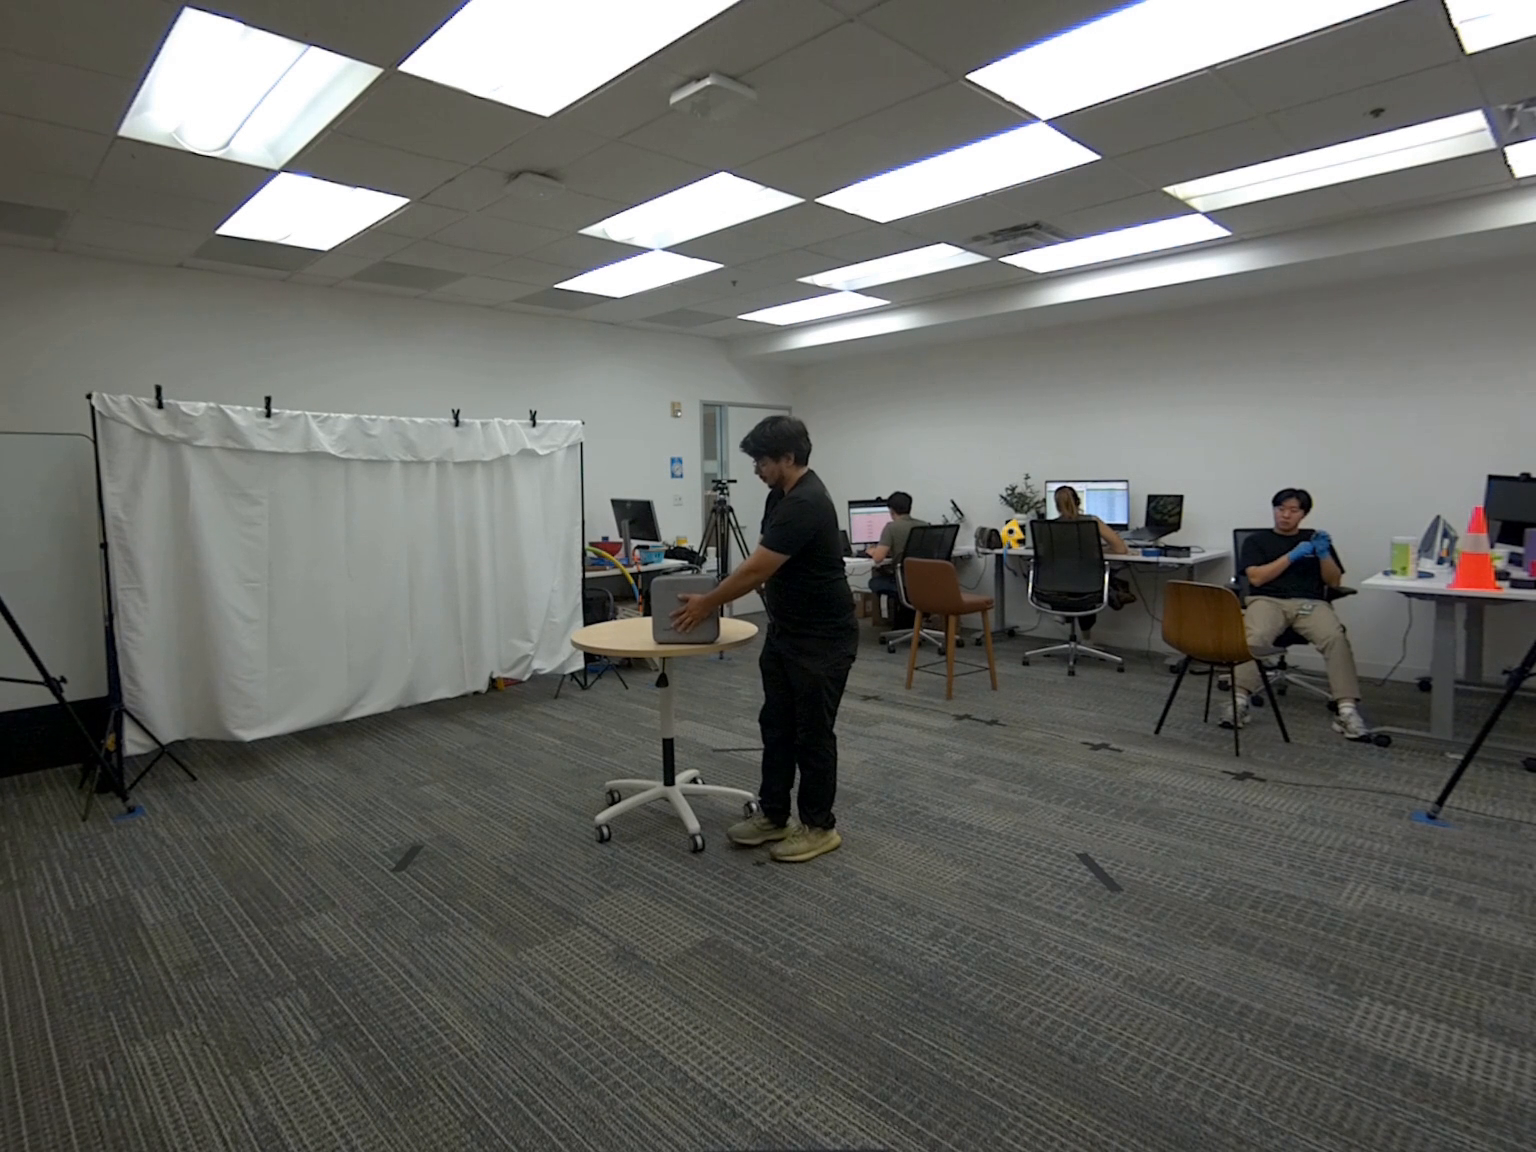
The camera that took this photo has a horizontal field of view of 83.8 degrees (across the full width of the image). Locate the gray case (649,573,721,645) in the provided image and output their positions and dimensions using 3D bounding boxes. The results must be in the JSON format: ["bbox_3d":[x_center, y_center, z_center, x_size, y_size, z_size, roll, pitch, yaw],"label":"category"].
[{"bbox_3d":[-0.319,0.124,3.261,0.258,0.262,0.103,-2,-7,6],"label":"gray case"}]
